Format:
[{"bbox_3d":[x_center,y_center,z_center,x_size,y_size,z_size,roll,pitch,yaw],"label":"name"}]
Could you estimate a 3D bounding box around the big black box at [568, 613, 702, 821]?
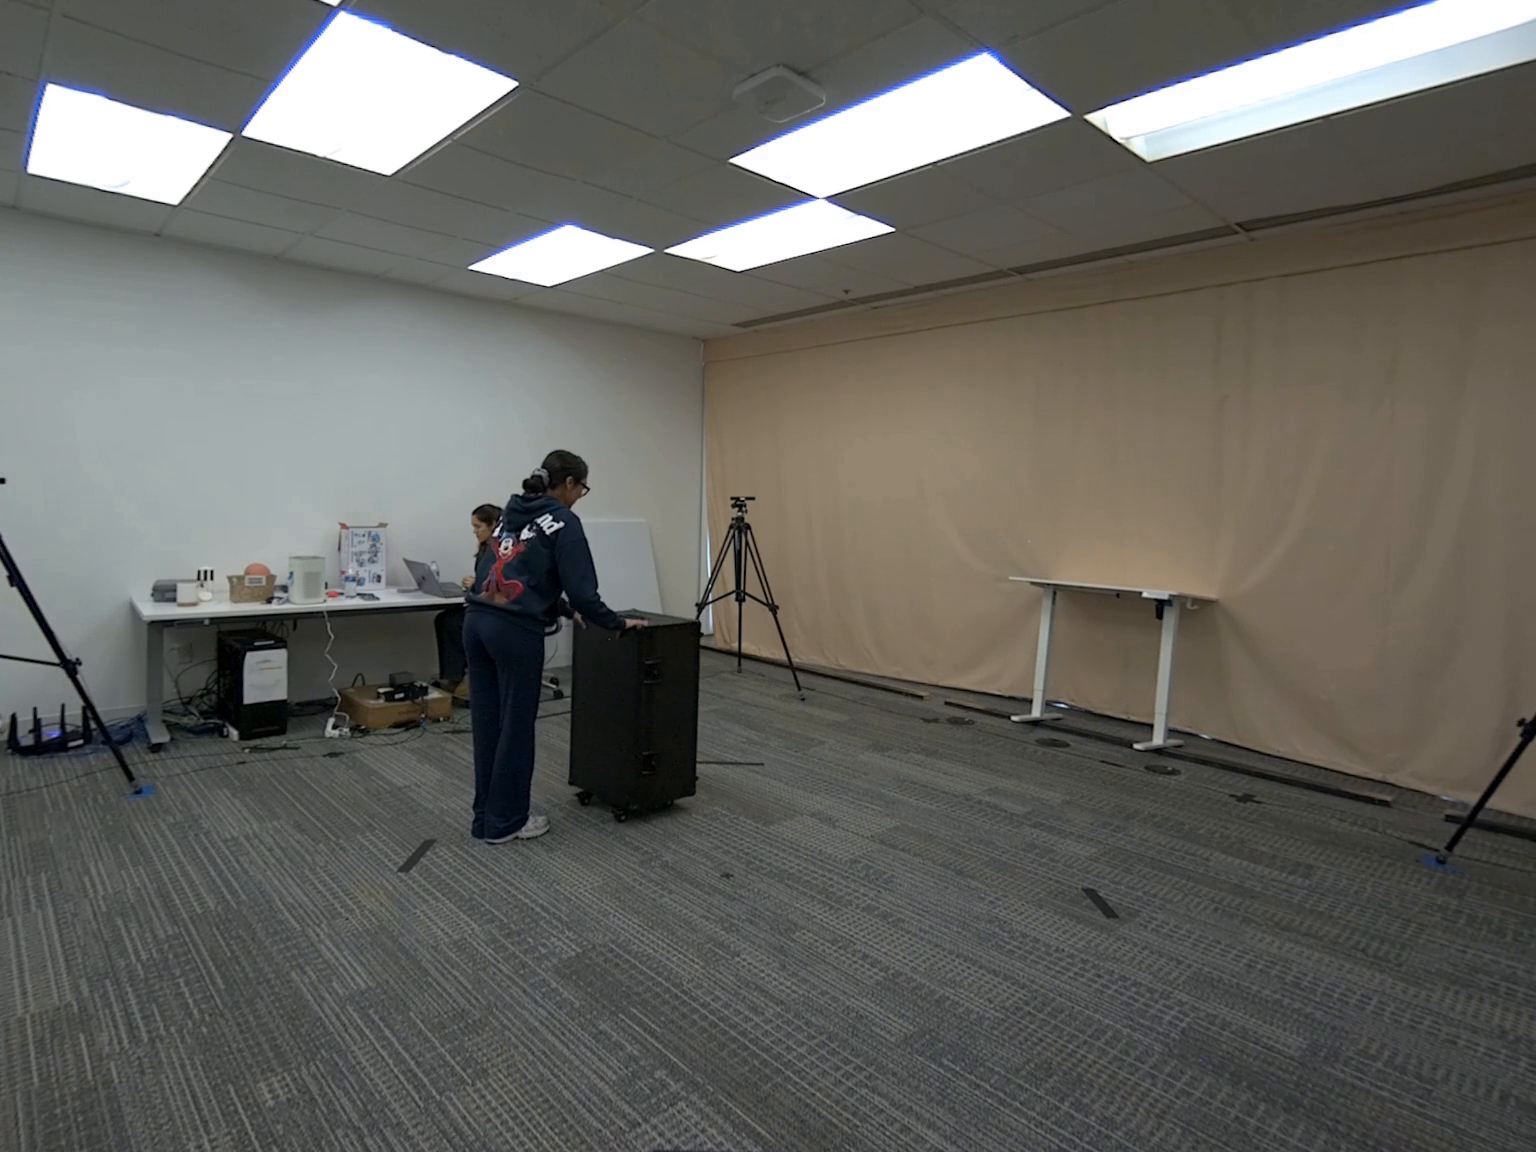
[{"bbox_3d":[-0.611,0.612,3.803,0.534,0.860,0.387,5,2,44],"label":"big black box"}]
